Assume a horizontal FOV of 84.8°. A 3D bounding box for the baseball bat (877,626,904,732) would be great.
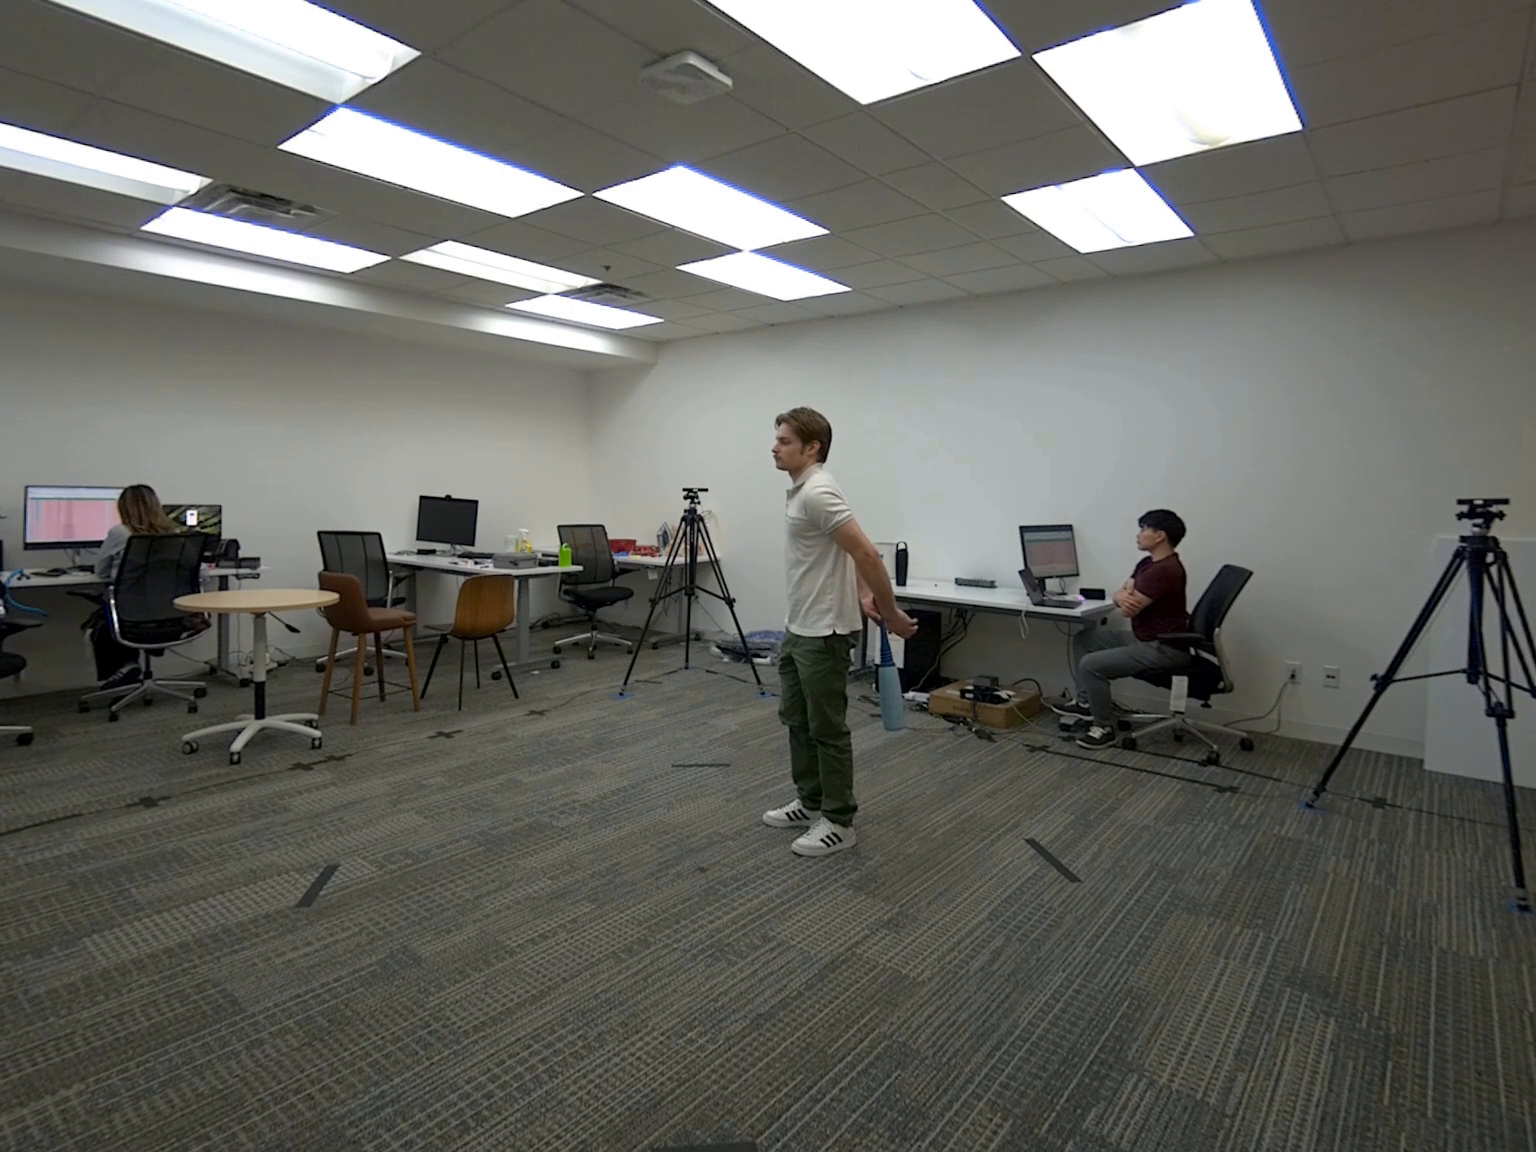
[{"bbox_3d":[0.471,0.349,3.423,0.089,0.546,0.088,-4,-5,-2],"label":"baseball bat"}]
